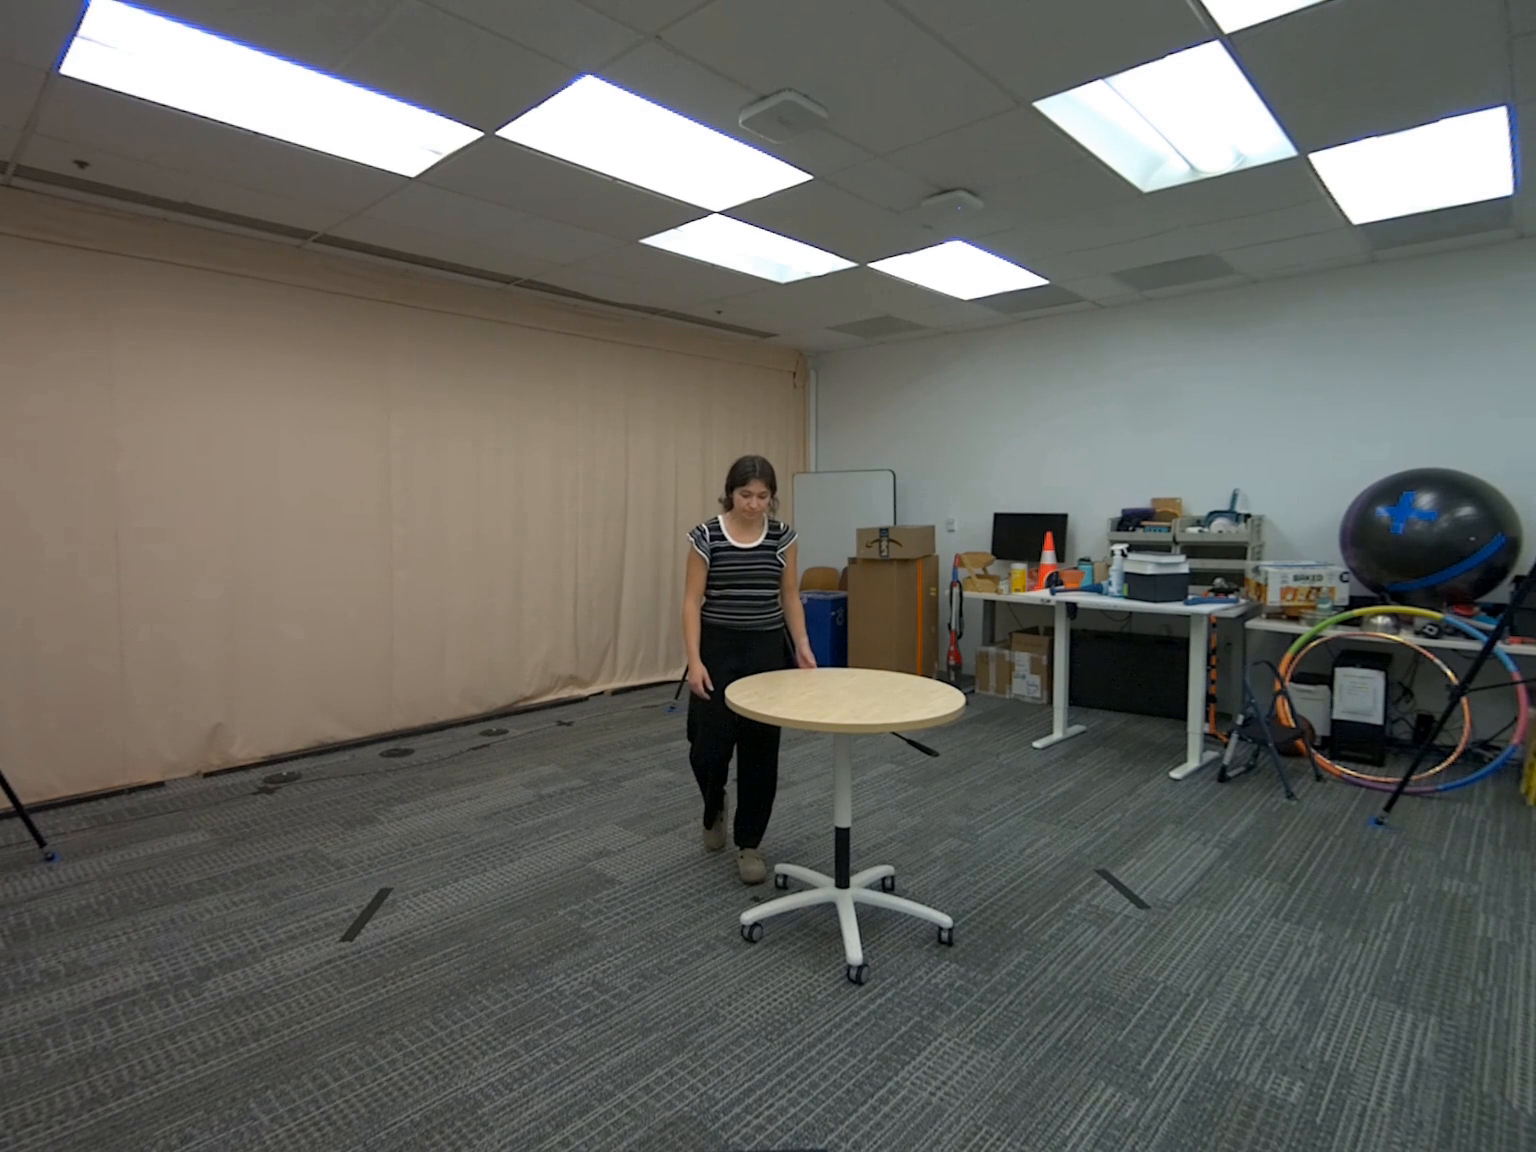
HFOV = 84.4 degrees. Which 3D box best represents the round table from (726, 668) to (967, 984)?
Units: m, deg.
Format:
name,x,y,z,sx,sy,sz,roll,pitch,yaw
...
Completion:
name,x,y,z,sx,sy,sz,roll,pitch,yaw
round table,0.239,0.767,2.761,0.784,0.785,0.788,0,4,-2
